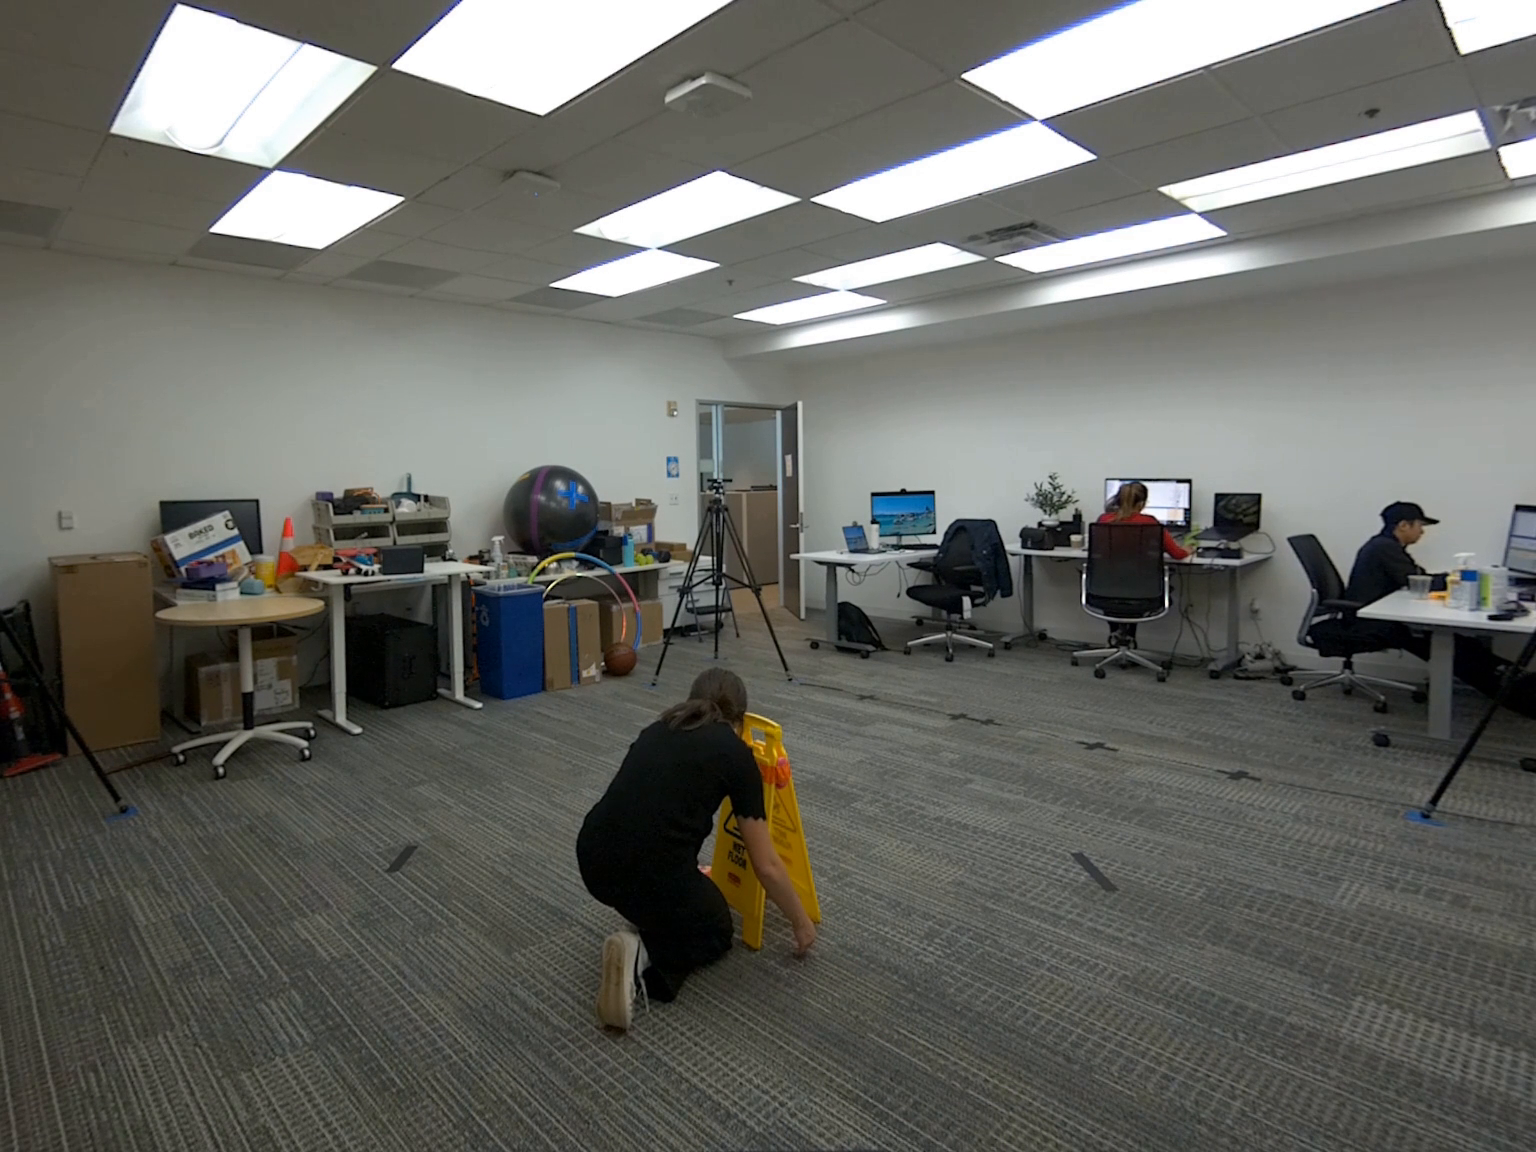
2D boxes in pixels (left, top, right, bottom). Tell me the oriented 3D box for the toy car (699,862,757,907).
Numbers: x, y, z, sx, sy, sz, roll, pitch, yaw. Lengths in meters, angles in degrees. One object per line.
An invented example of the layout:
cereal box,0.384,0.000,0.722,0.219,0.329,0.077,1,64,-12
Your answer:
toy car,-0.189,1.036,2.893,0.260,0.083,0.127,-9,1,33
